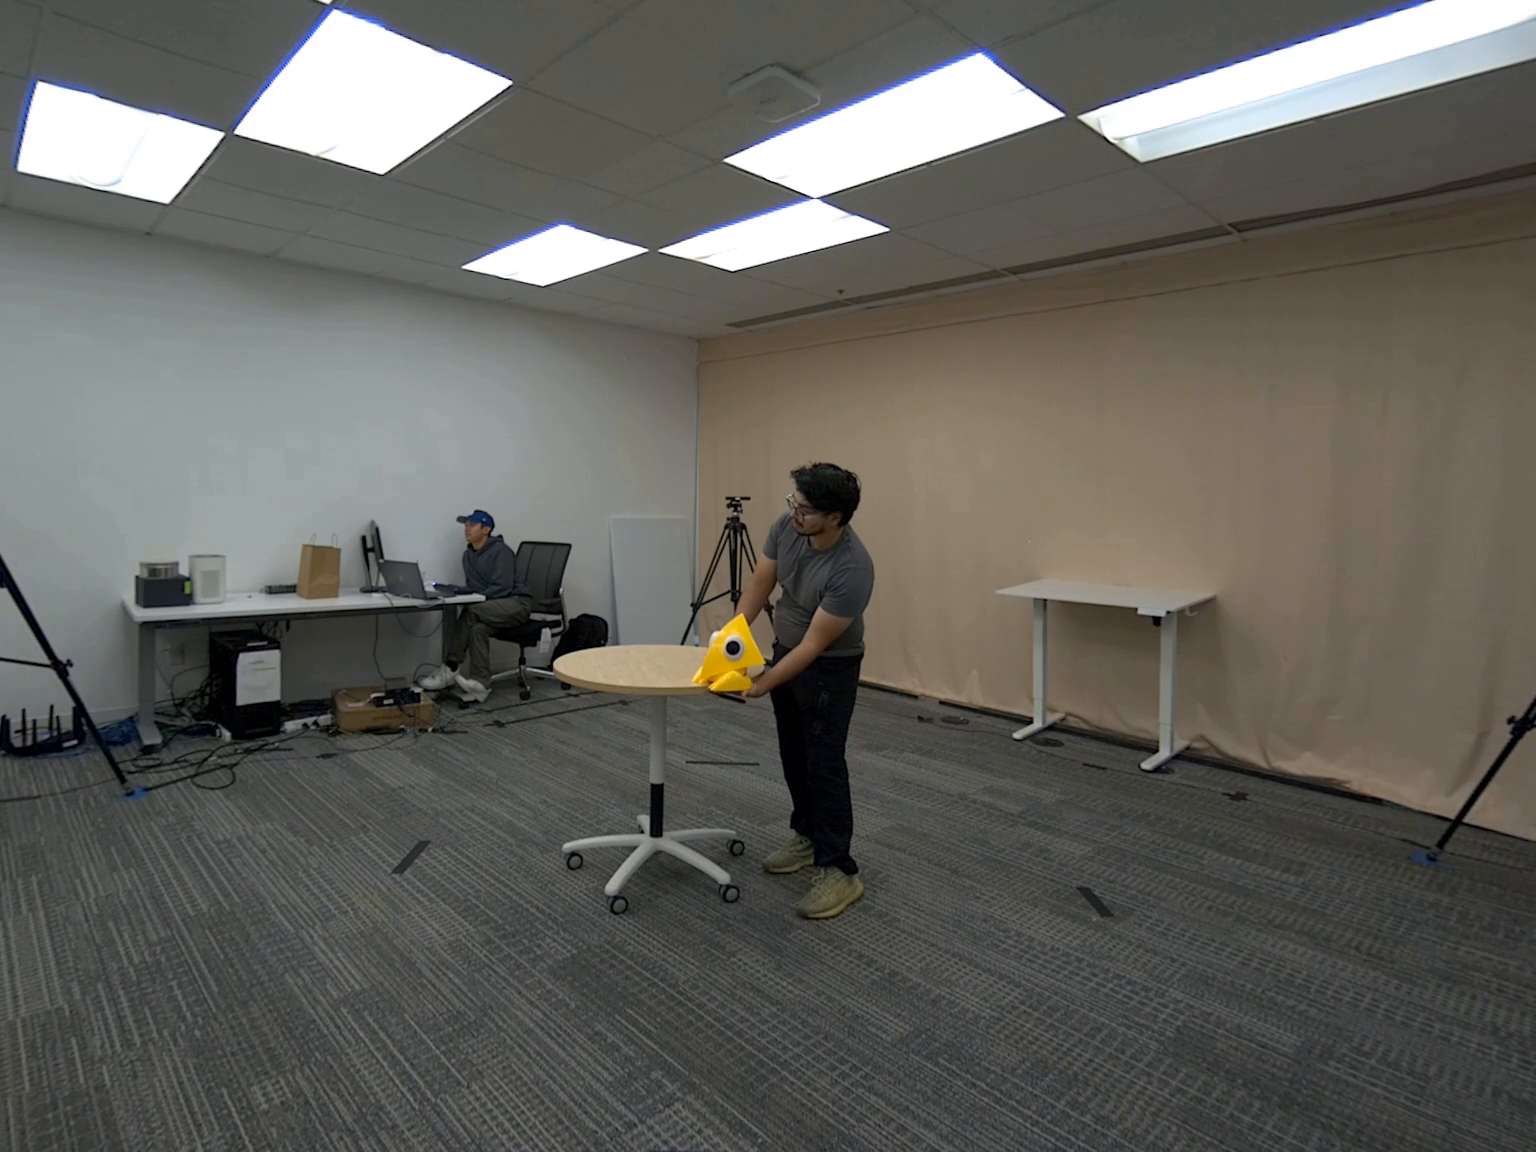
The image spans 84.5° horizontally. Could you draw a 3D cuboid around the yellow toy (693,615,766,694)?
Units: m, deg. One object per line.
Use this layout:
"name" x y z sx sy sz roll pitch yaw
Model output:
"yellow toy" -0.144 0.245 2.758 0.189 0.230 0.210 -1 5 -34
